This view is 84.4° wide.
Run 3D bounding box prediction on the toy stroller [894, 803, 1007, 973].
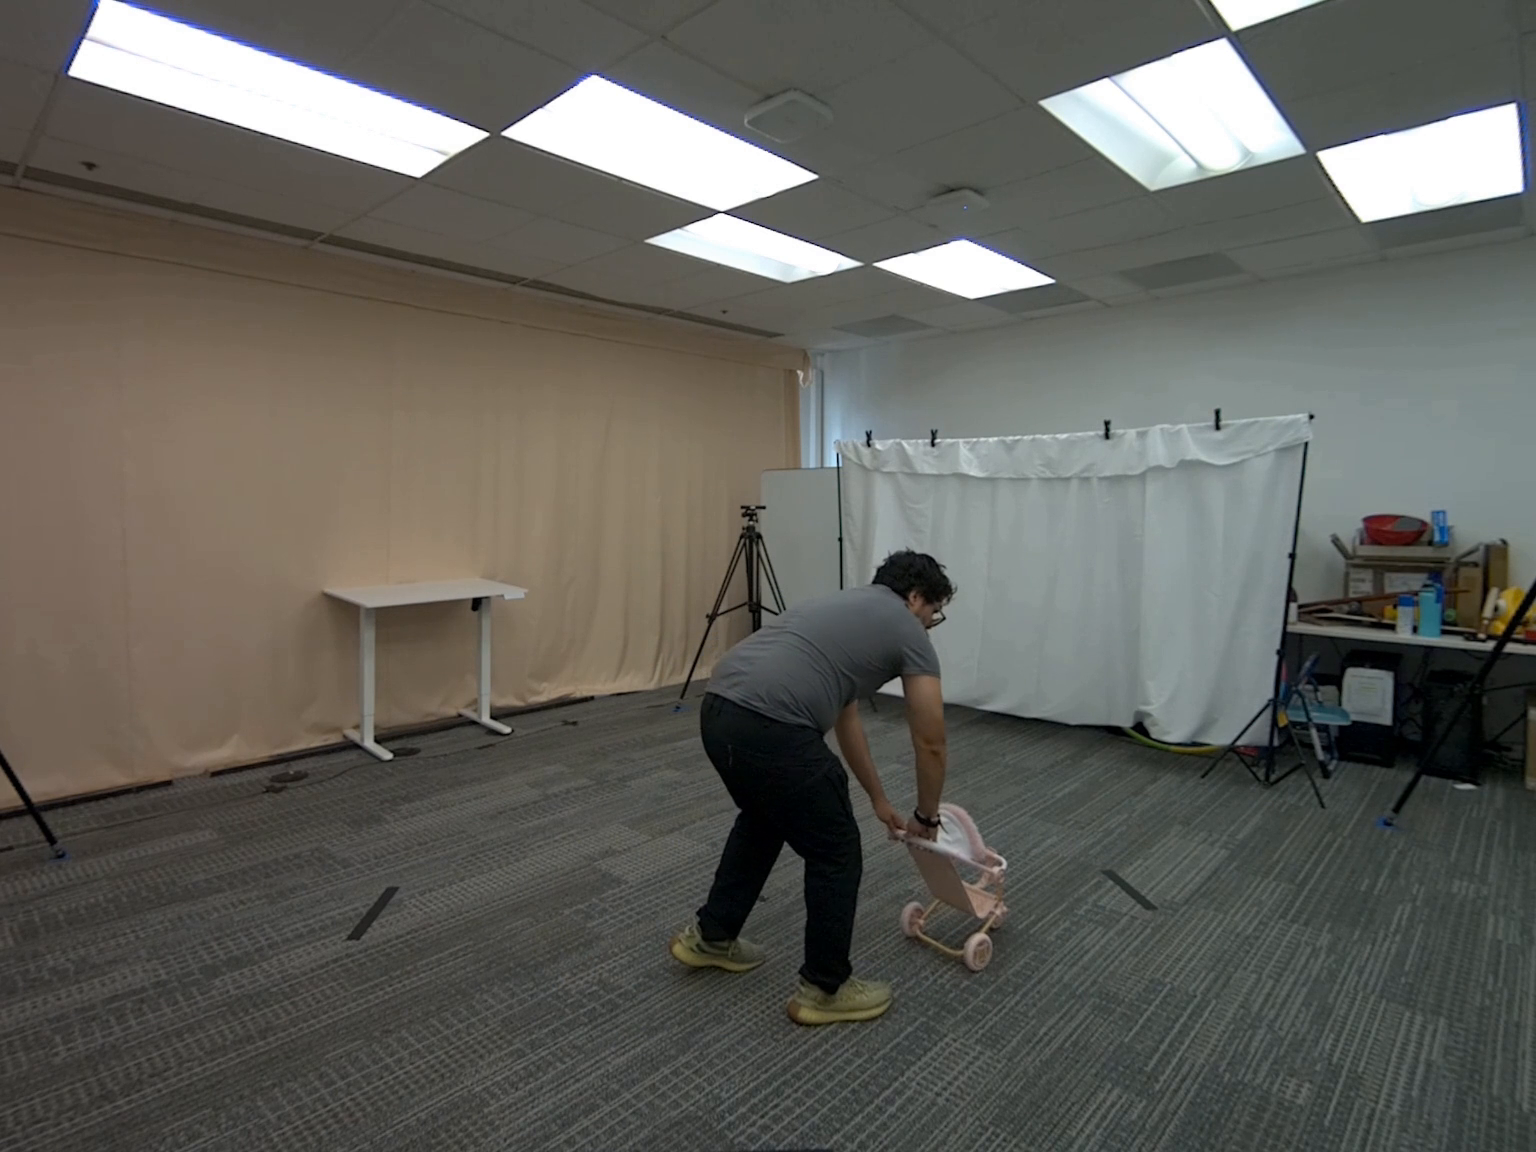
[{"bbox_3d":[0.592,0.949,2.636,0.335,0.529,0.290,-23,16,-32],"label":"toy stroller"}]
